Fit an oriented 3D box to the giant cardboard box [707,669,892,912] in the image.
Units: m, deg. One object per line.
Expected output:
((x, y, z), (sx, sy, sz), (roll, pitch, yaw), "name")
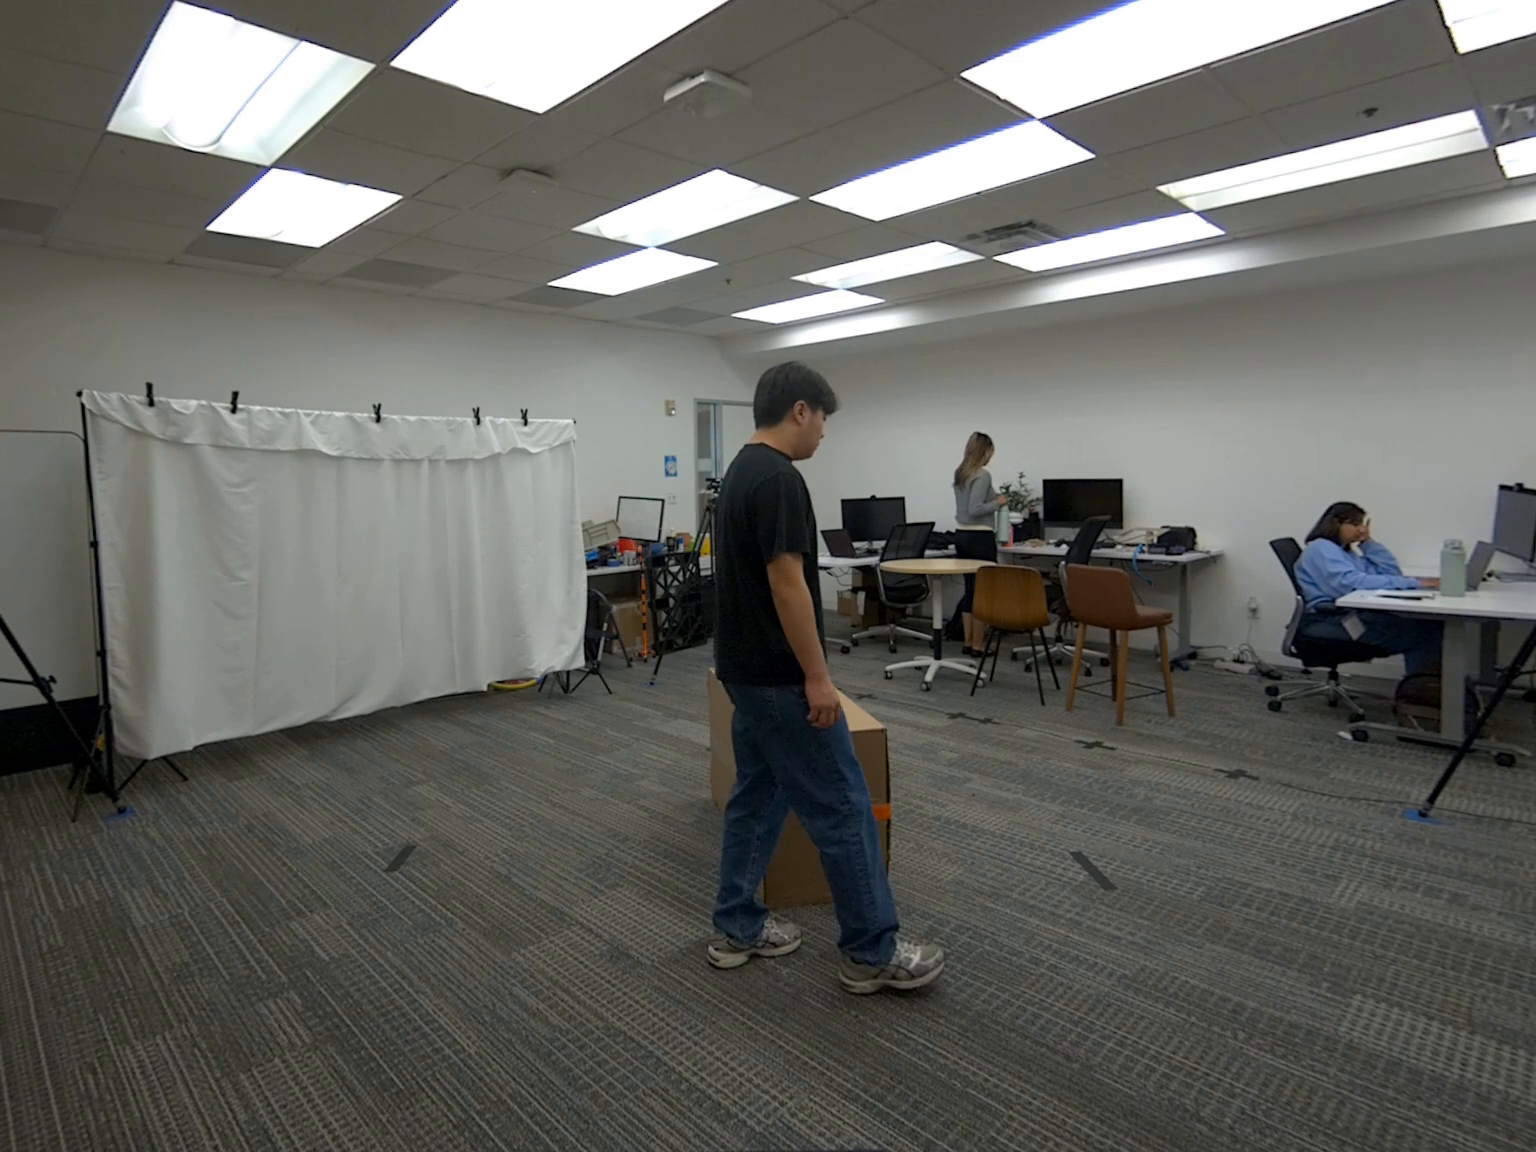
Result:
((0.078, 0.730, 3.285), (0.441, 0.581, 1.044), (-1, 6, -14), "giant cardboard box")
